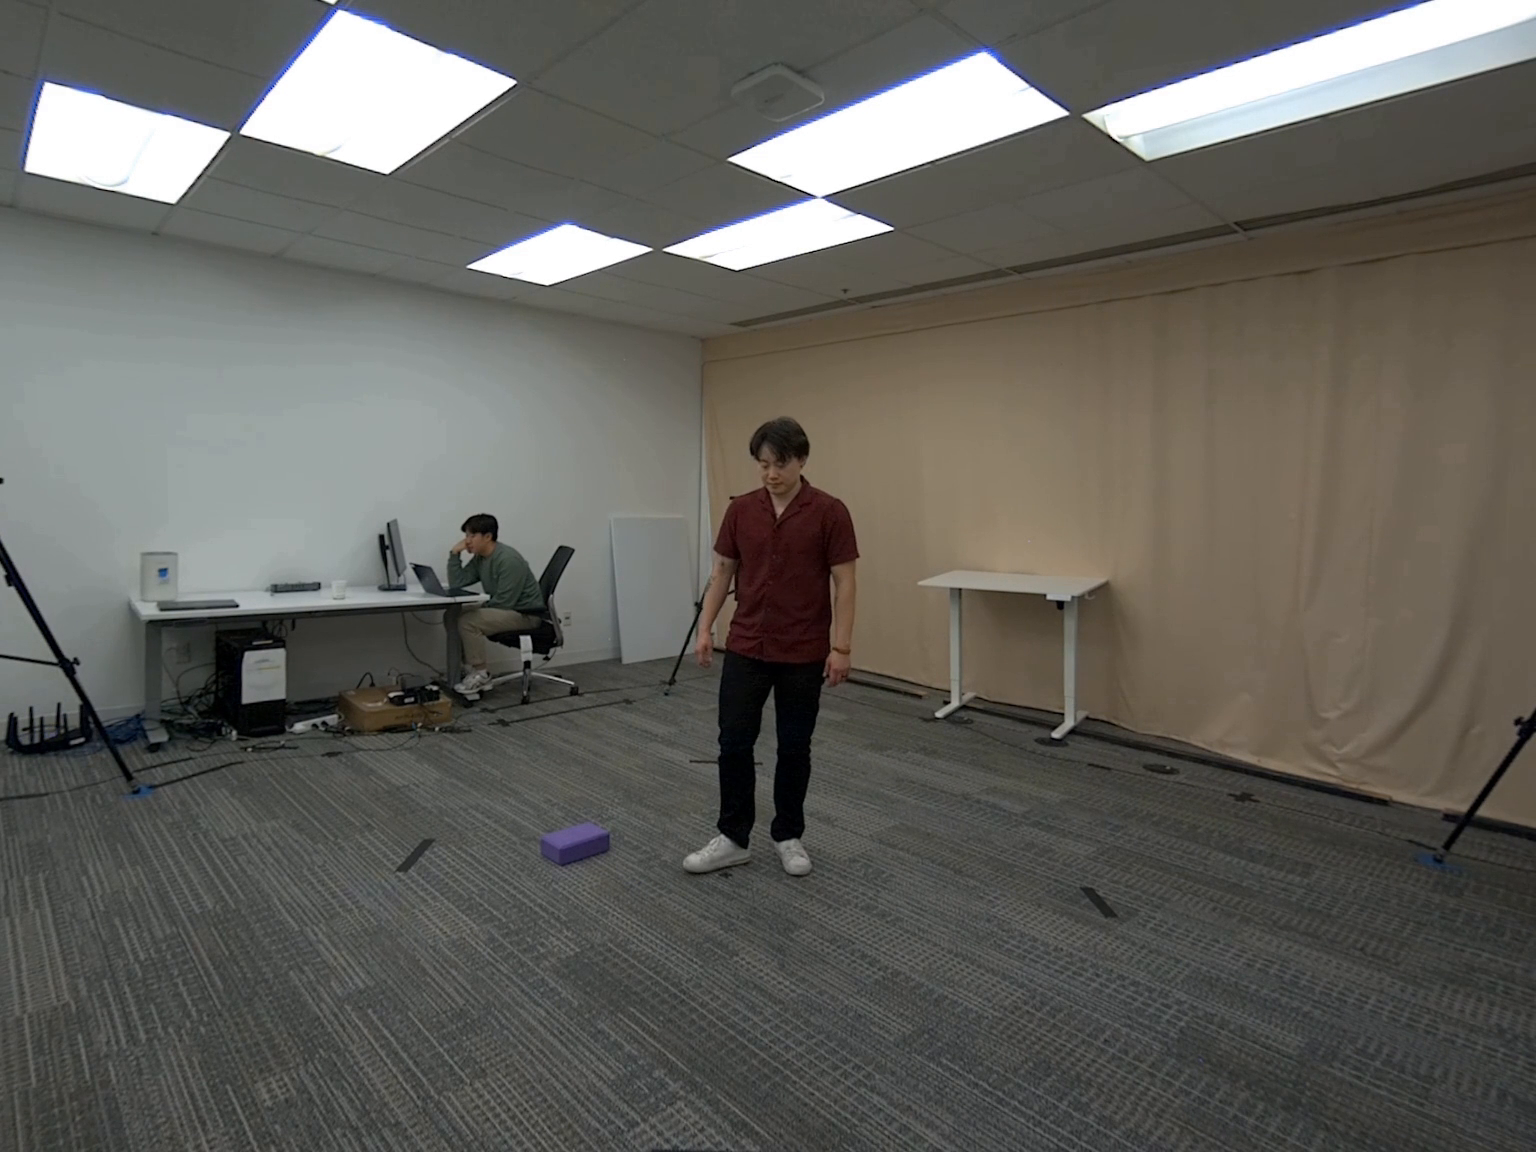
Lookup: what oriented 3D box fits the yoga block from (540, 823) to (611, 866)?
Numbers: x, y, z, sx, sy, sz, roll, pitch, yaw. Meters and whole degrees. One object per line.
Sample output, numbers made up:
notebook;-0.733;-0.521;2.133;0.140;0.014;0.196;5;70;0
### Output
yoga block;-0.754;1.038;3.263;0.153;0.076;0.224;6;8;44
